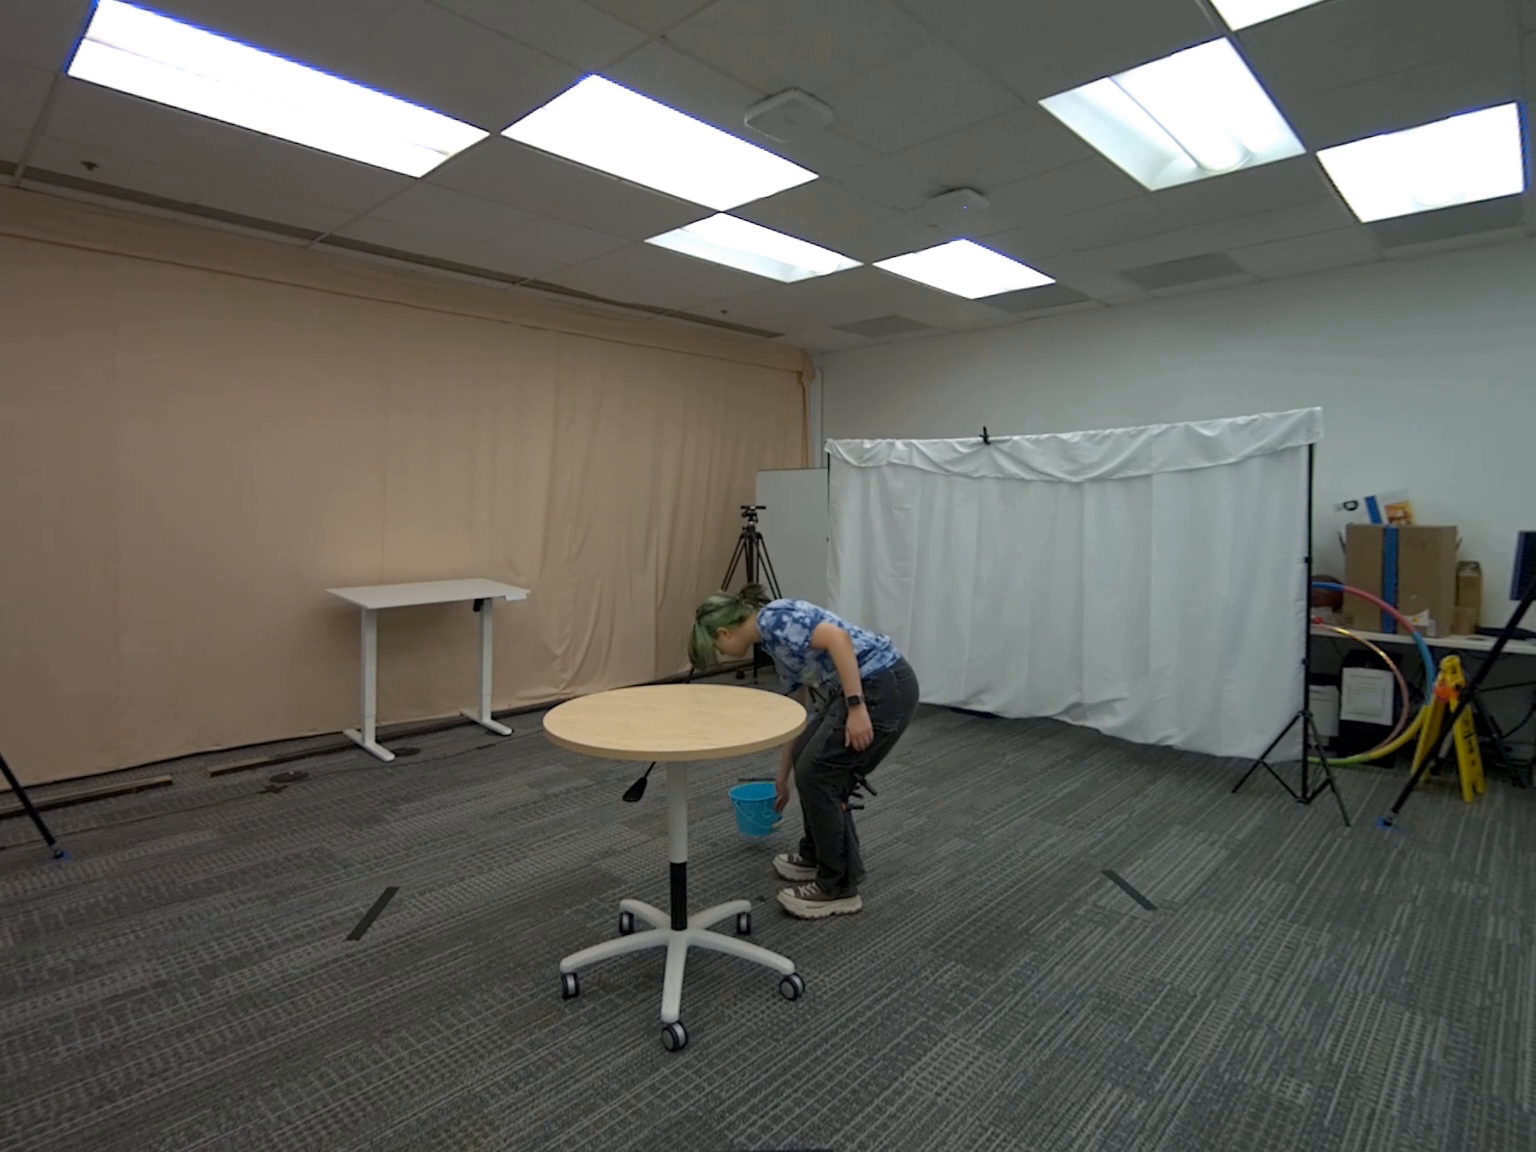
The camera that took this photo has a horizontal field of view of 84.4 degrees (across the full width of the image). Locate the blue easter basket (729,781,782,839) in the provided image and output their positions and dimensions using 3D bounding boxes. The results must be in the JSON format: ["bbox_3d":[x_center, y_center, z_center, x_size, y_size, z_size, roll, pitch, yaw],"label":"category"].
[{"bbox_3d":[-0.036,0.936,3.405,0.243,0.156,0.244,-5,3,-2],"label":"blue easter basket"}]
